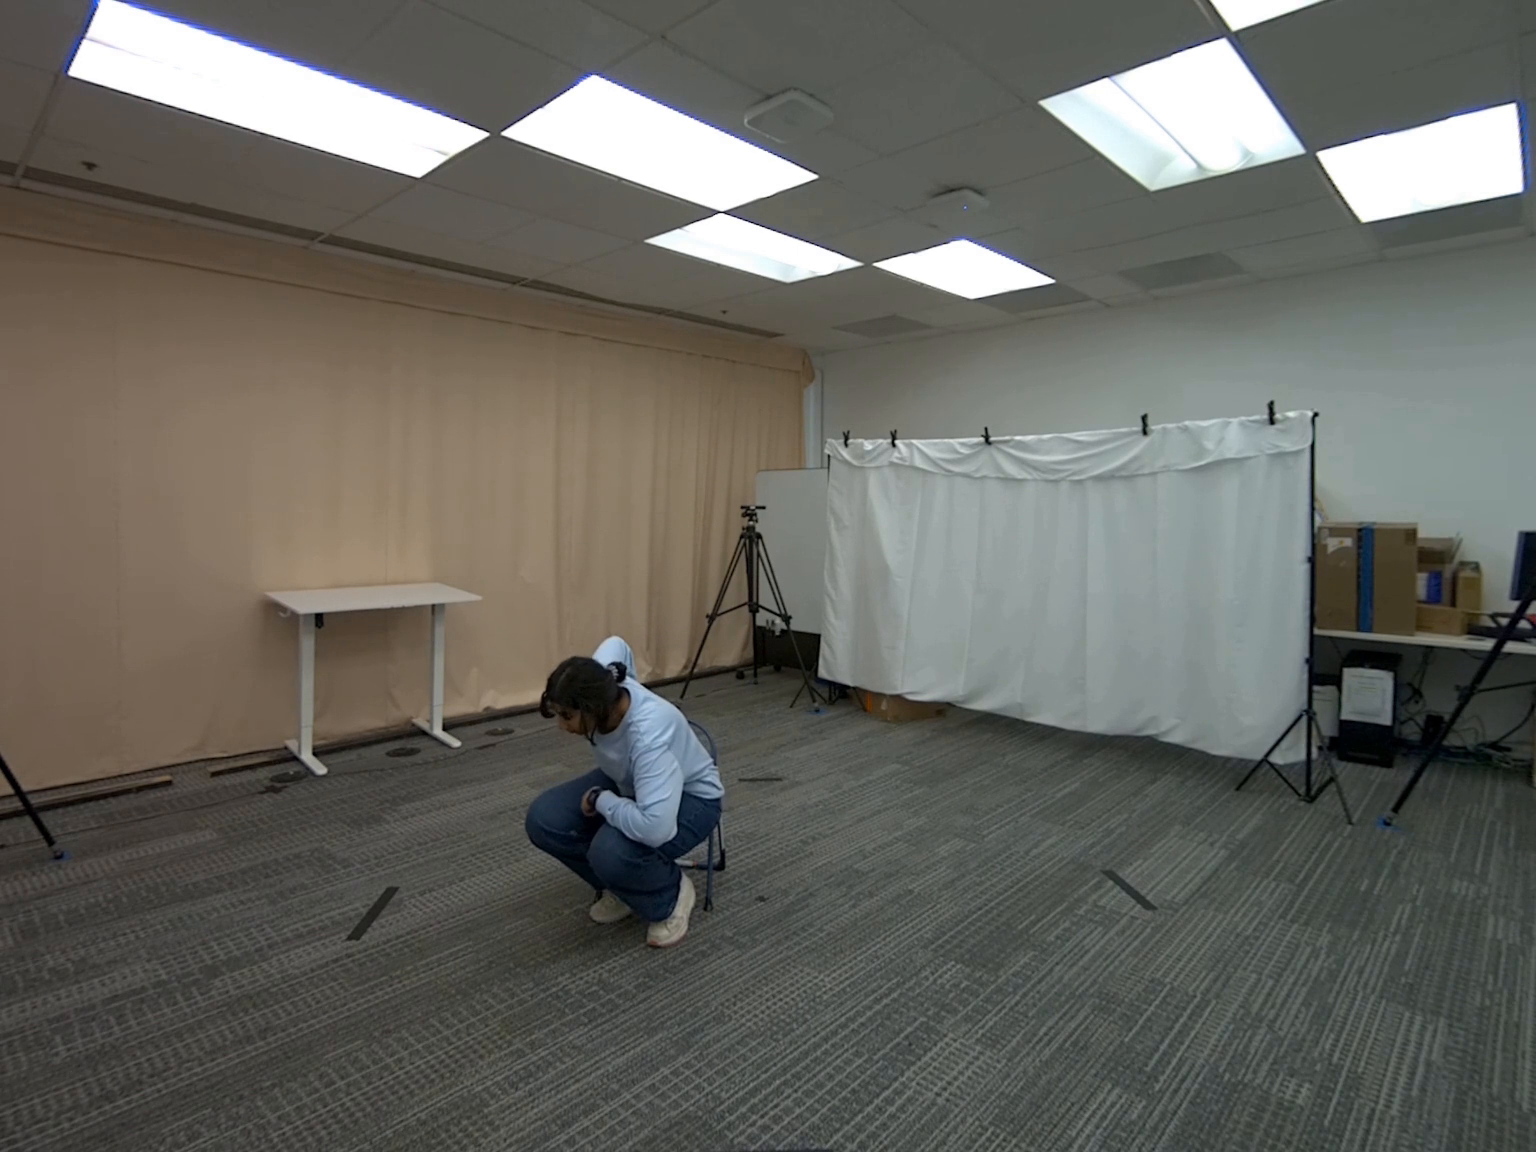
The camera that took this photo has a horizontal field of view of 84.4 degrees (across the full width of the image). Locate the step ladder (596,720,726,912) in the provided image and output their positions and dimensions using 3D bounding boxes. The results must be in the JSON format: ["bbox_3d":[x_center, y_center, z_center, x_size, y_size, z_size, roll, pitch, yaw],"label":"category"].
[{"bbox_3d":[-0.383,0.836,3.089,0.435,0.605,0.347,1,3,8],"label":"step ladder"}]
